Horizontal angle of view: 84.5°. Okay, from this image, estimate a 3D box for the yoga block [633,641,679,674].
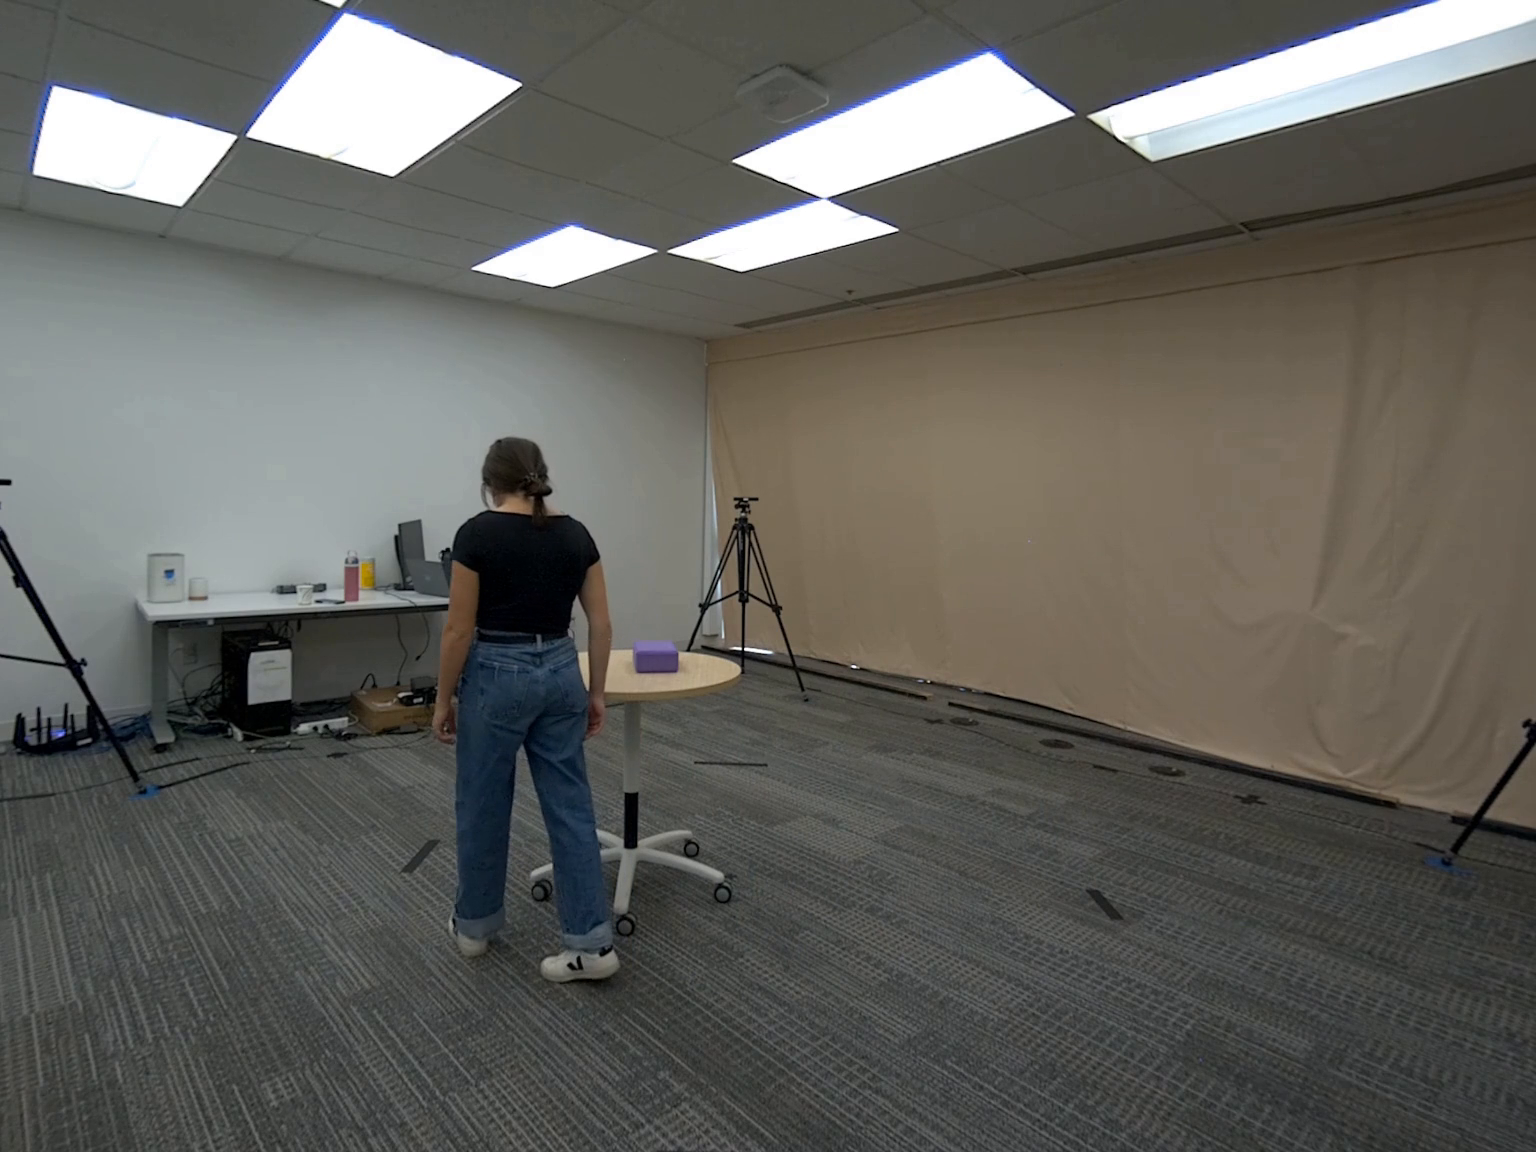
[{"bbox_3d":[-0.414,0.291,3.017,0.148,0.076,0.231,0,5,-9],"label":"yoga block"}]
